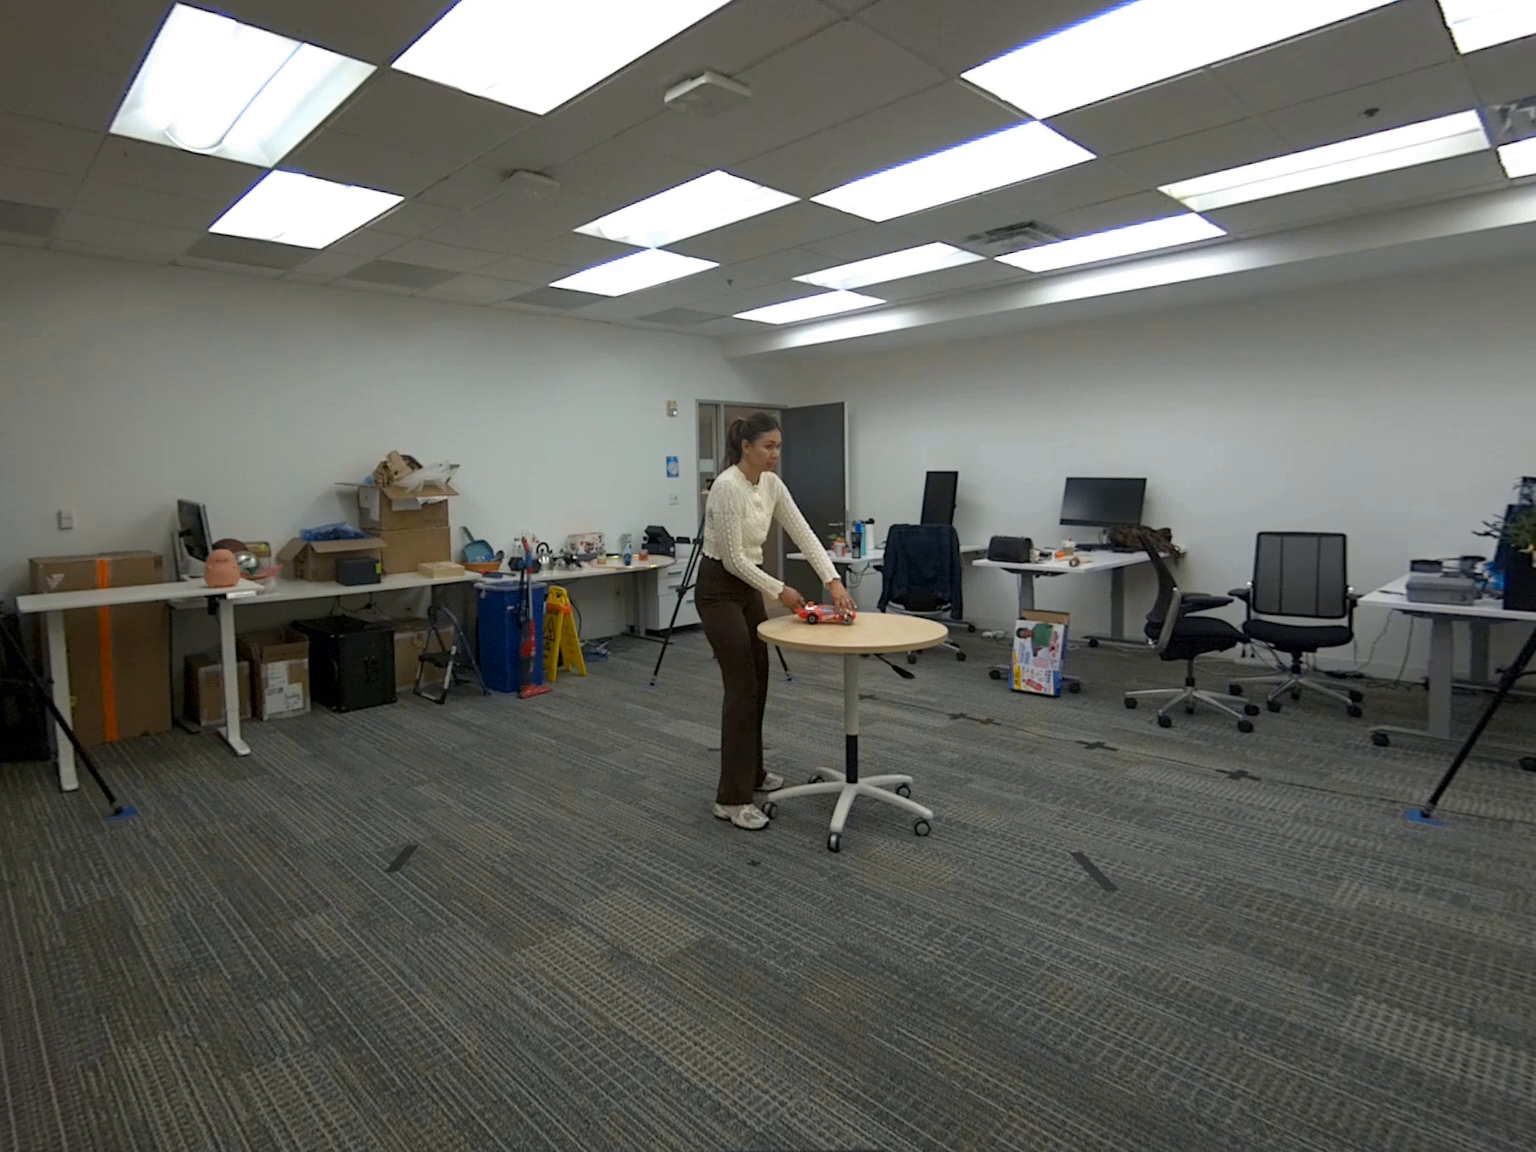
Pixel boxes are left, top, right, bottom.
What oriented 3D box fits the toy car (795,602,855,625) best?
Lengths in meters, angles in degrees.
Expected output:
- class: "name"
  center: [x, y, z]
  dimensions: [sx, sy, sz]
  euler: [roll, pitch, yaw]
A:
- class: "toy car"
  center: [0.250, 0.166, 3.600]
  dimensions: [0.257, 0.083, 0.129]
  euler: [11, 8, 9]
